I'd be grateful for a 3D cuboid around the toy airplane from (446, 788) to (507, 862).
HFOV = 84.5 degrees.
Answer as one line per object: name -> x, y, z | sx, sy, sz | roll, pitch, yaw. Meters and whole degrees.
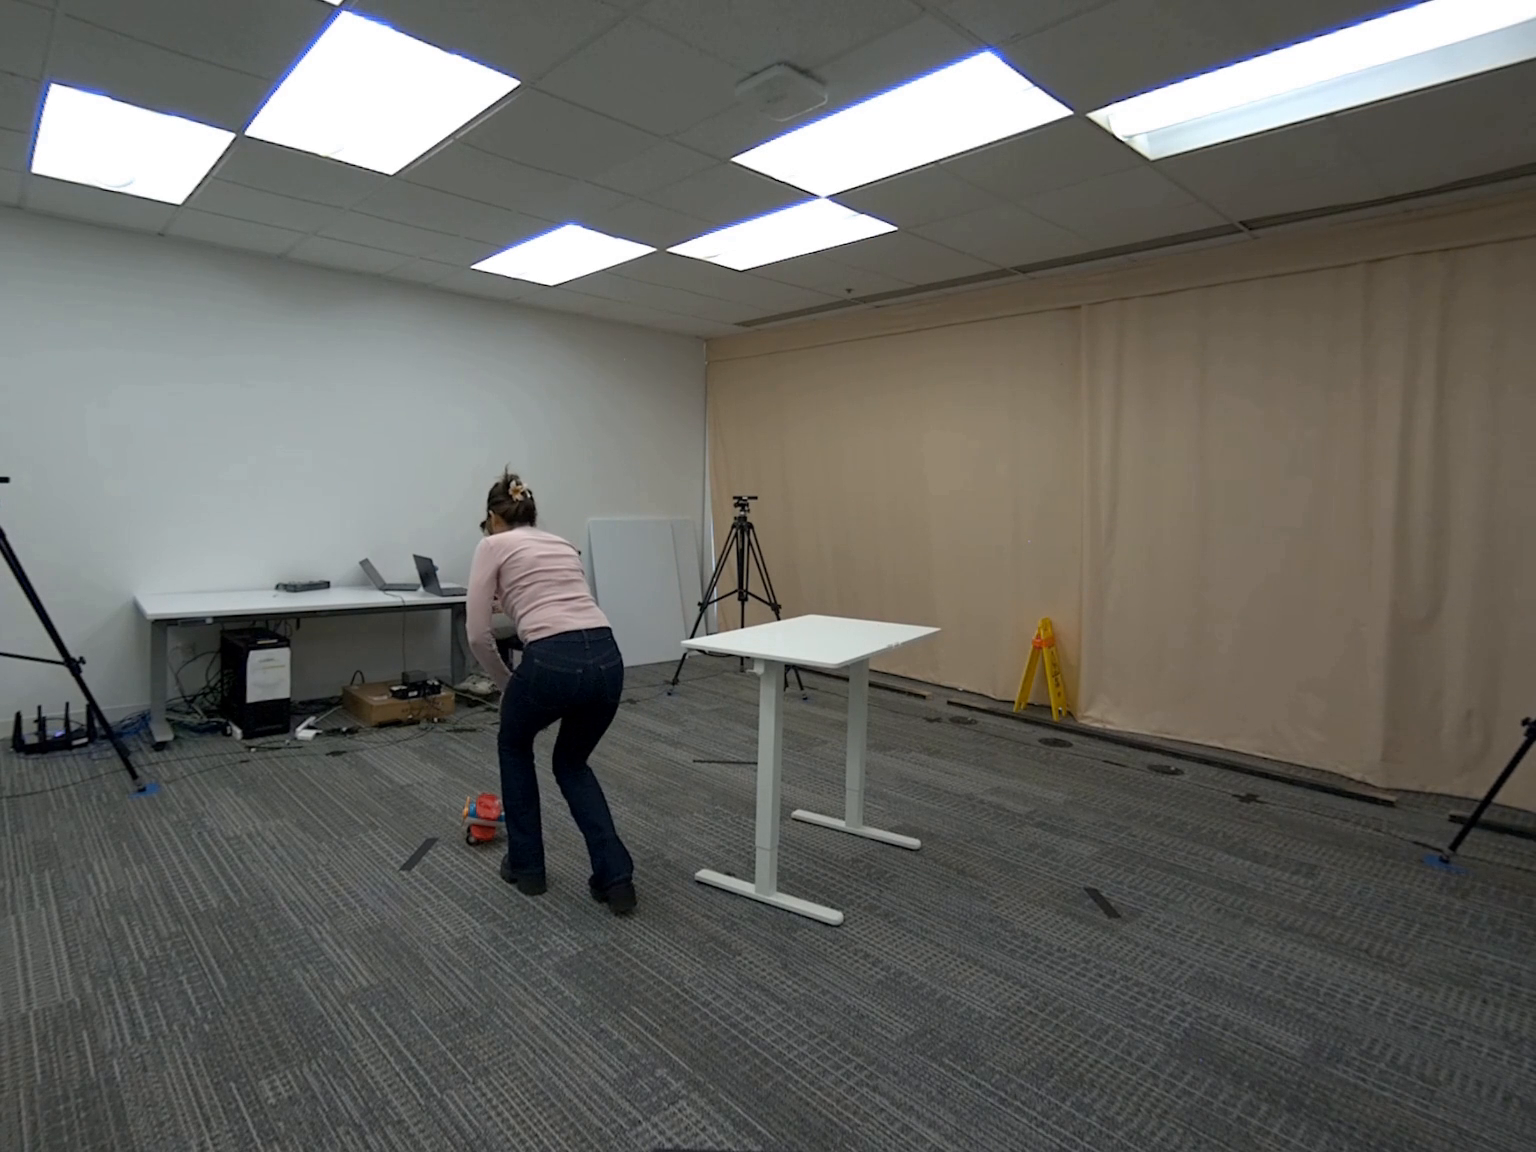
toy airplane -> -1.108, 0.984, 3.390 | 0.253, 0.156, 0.257 | -5, 8, -45
